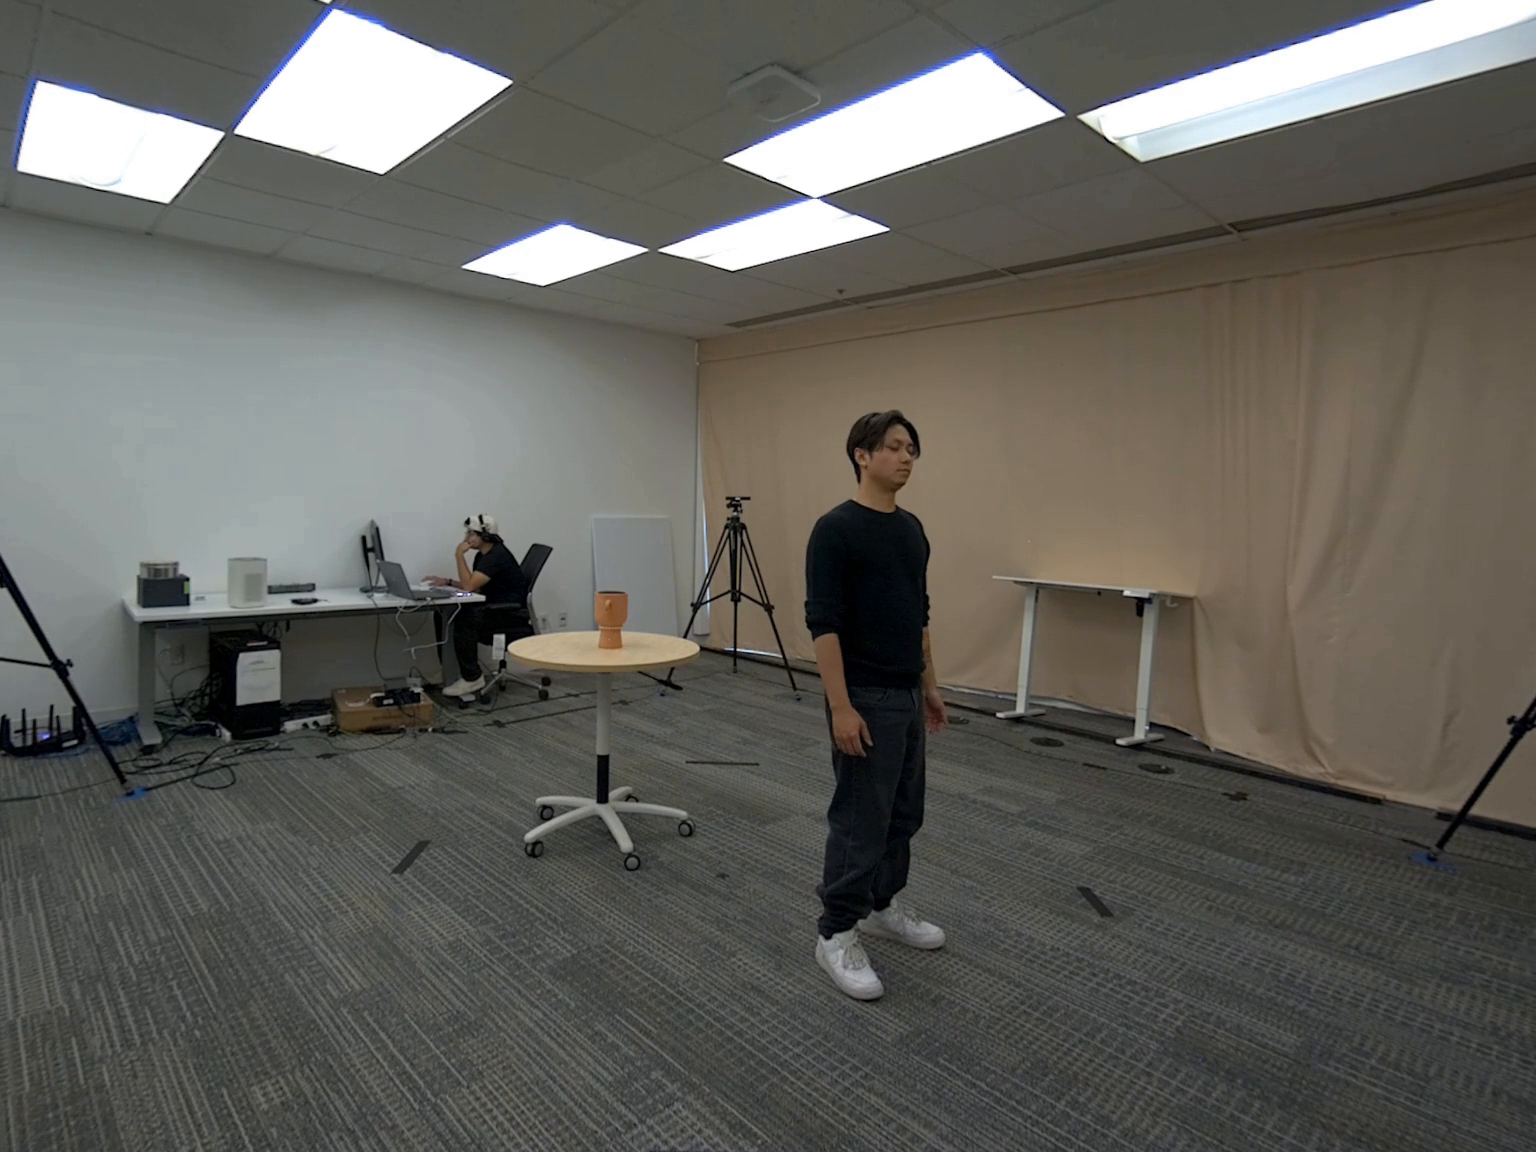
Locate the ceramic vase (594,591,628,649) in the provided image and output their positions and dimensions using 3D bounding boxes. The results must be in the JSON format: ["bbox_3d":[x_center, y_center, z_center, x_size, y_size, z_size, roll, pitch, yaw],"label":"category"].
[{"bbox_3d":[-0.643,0.177,3.395,0.138,0.219,0.155,6,5,41],"label":"ceramic vase"}]
